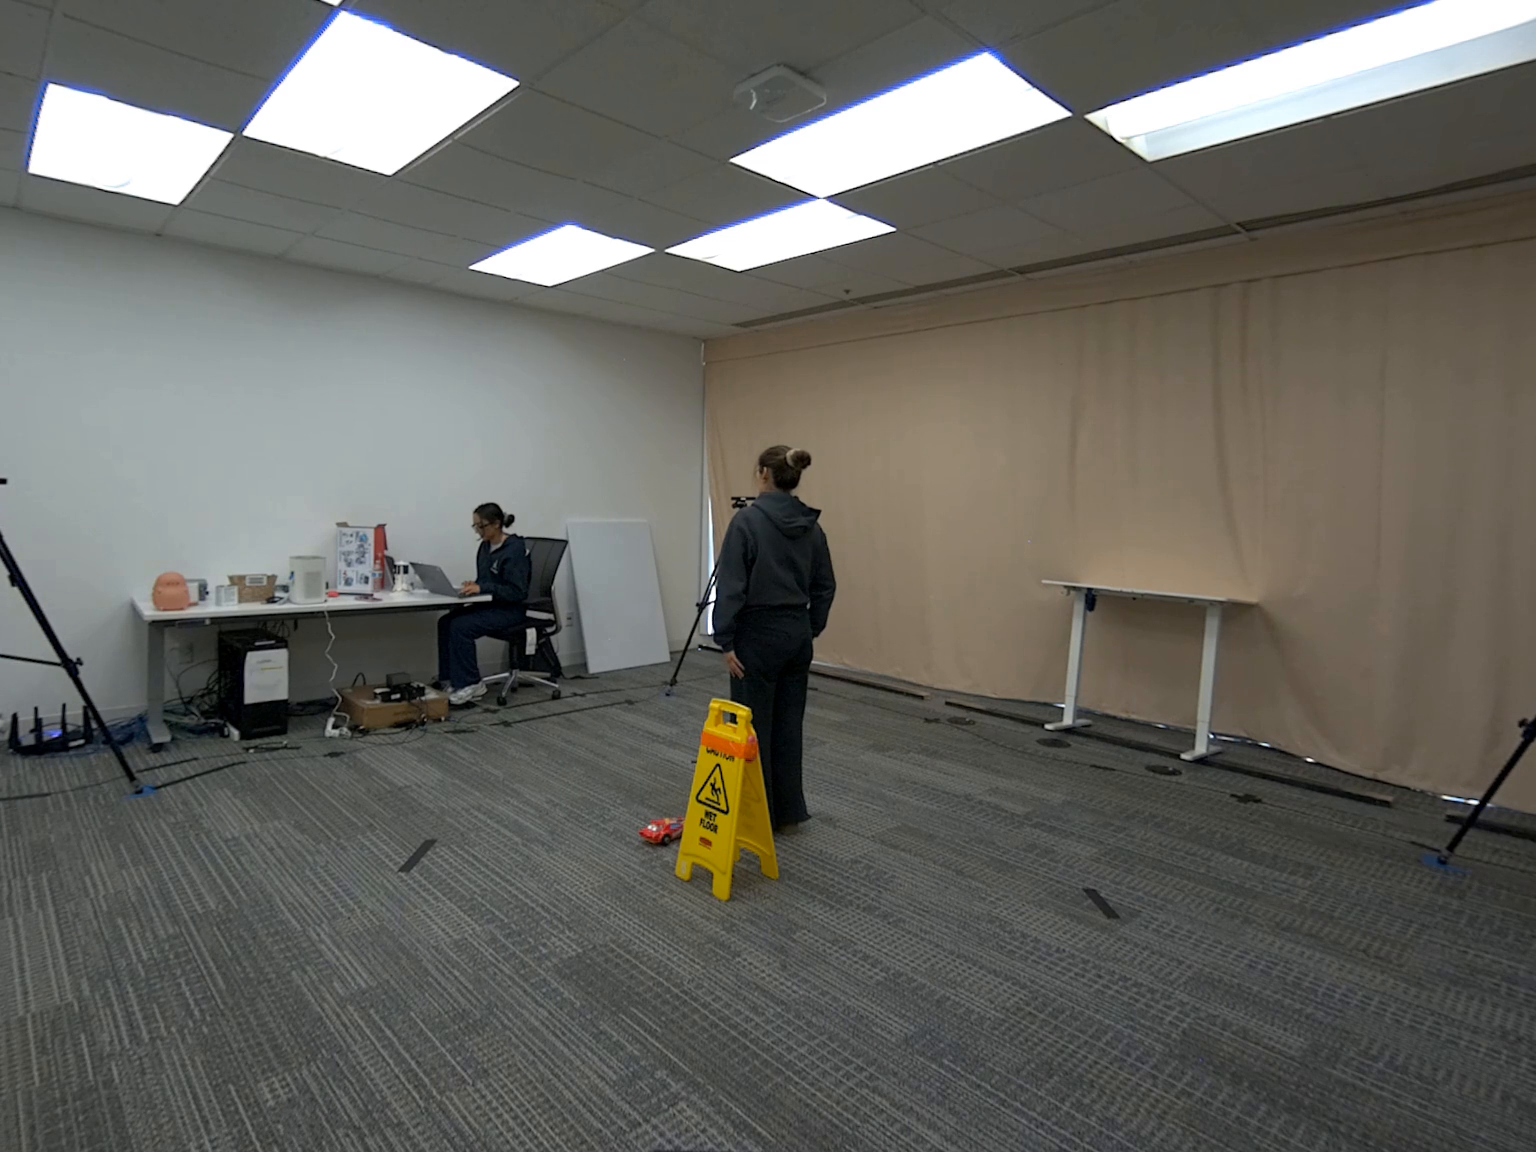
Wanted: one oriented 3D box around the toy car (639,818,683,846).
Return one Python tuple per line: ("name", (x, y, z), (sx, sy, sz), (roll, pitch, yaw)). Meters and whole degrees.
("toy car", (-0.427, 1.037, 3.440), (0.133, 0.083, 0.247), (5, -5, 42))
